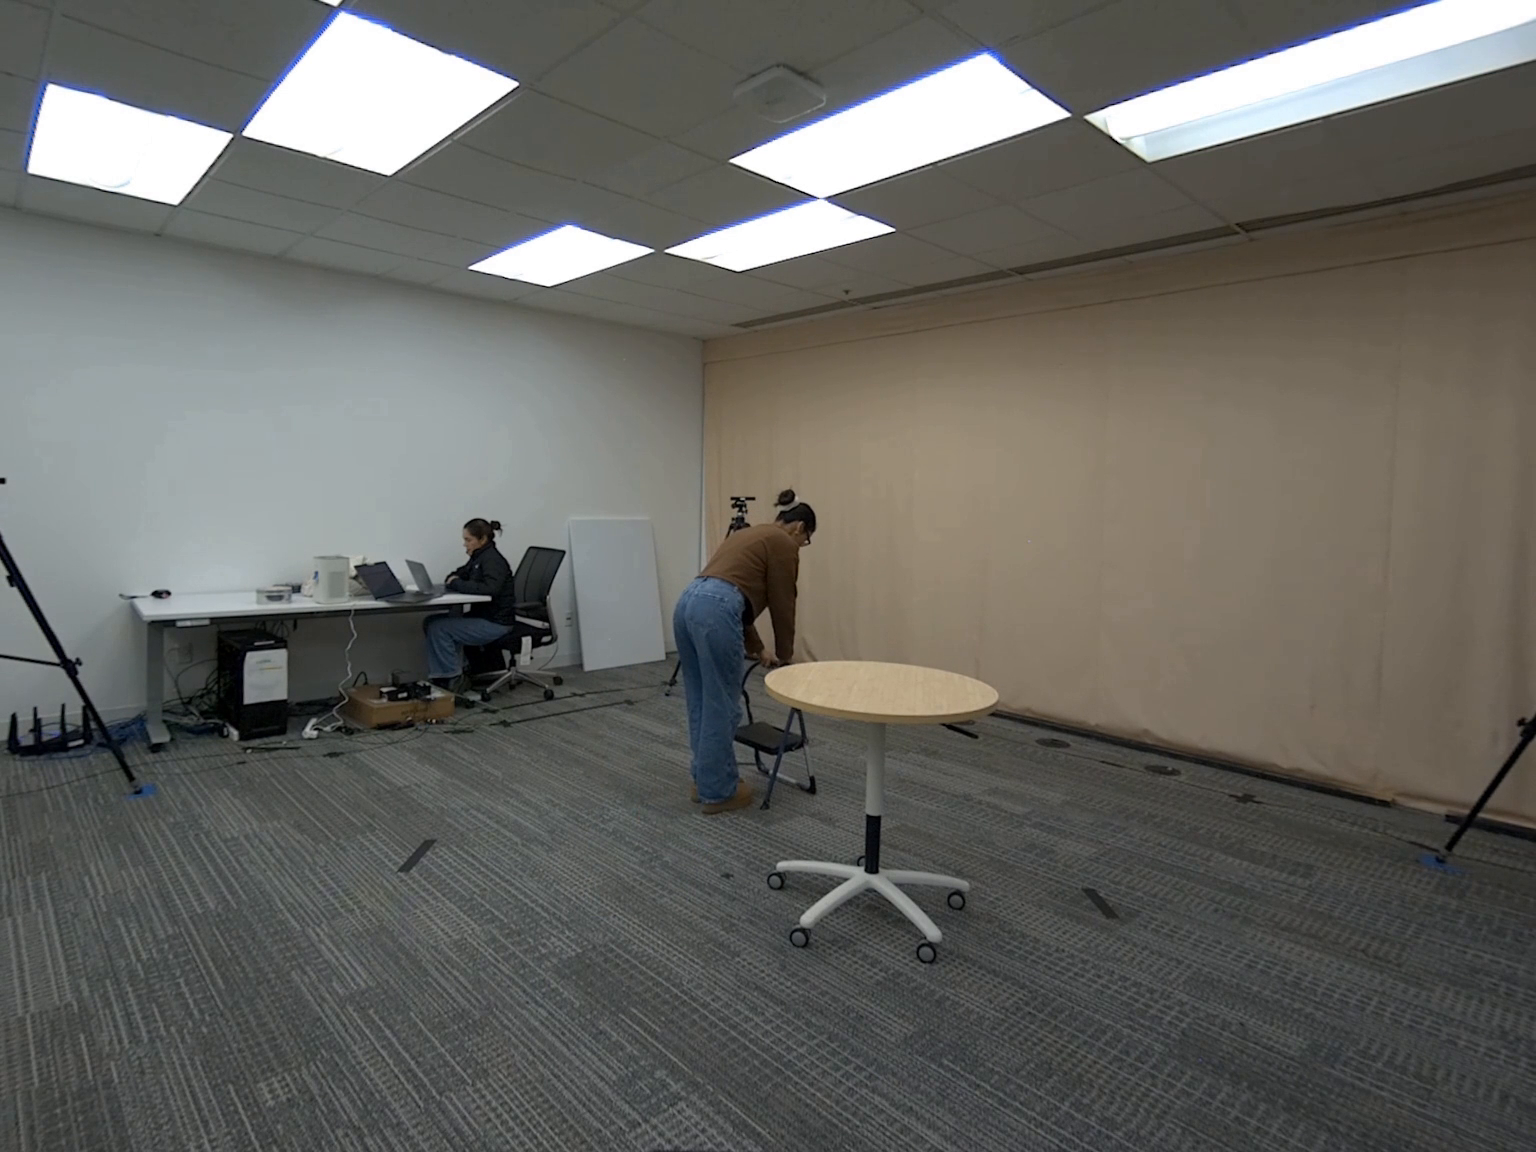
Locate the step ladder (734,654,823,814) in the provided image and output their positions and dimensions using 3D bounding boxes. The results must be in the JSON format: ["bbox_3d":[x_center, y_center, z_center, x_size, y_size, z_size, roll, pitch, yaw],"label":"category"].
[{"bbox_3d":[-0.028,0.726,4.032,0.341,0.604,0.442,-3,7,-41],"label":"step ladder"}]
